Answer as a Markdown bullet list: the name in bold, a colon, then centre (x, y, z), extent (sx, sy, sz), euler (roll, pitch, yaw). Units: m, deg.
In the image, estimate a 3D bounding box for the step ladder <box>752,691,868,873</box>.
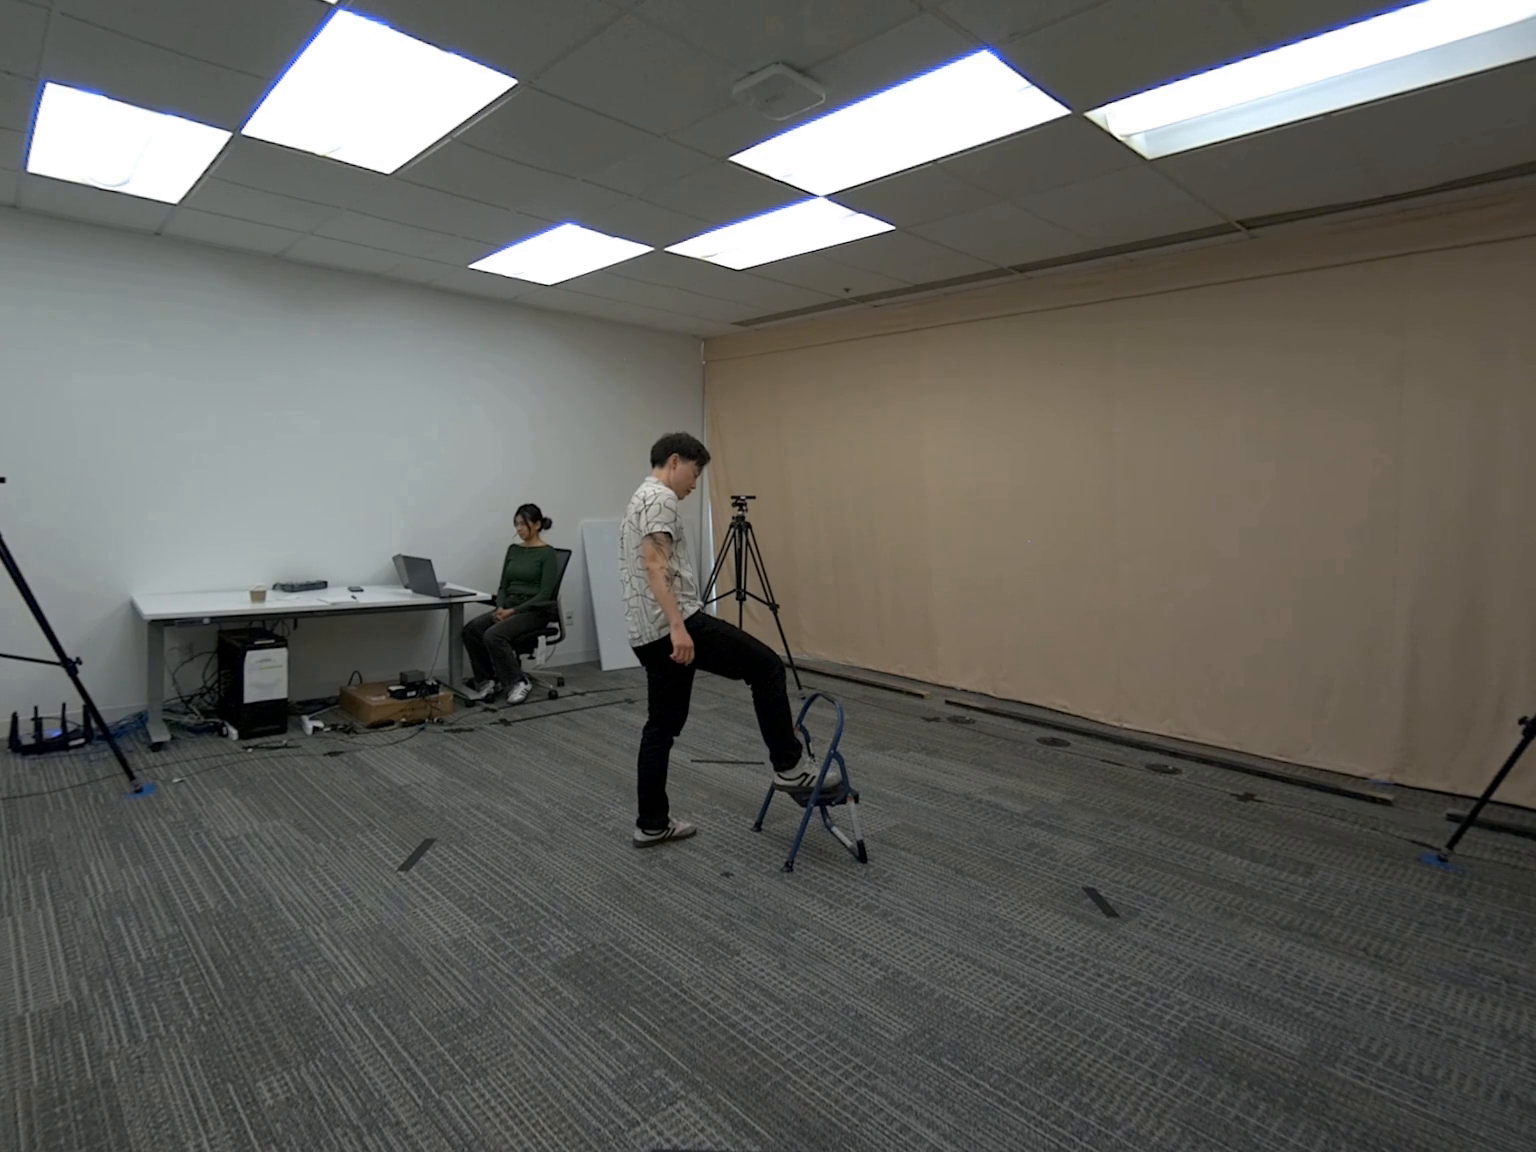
- **step ladder**: centre (0.159, 0.784, 3.362), extent (0.345, 0.605, 0.437), euler (0, 3, -17)
